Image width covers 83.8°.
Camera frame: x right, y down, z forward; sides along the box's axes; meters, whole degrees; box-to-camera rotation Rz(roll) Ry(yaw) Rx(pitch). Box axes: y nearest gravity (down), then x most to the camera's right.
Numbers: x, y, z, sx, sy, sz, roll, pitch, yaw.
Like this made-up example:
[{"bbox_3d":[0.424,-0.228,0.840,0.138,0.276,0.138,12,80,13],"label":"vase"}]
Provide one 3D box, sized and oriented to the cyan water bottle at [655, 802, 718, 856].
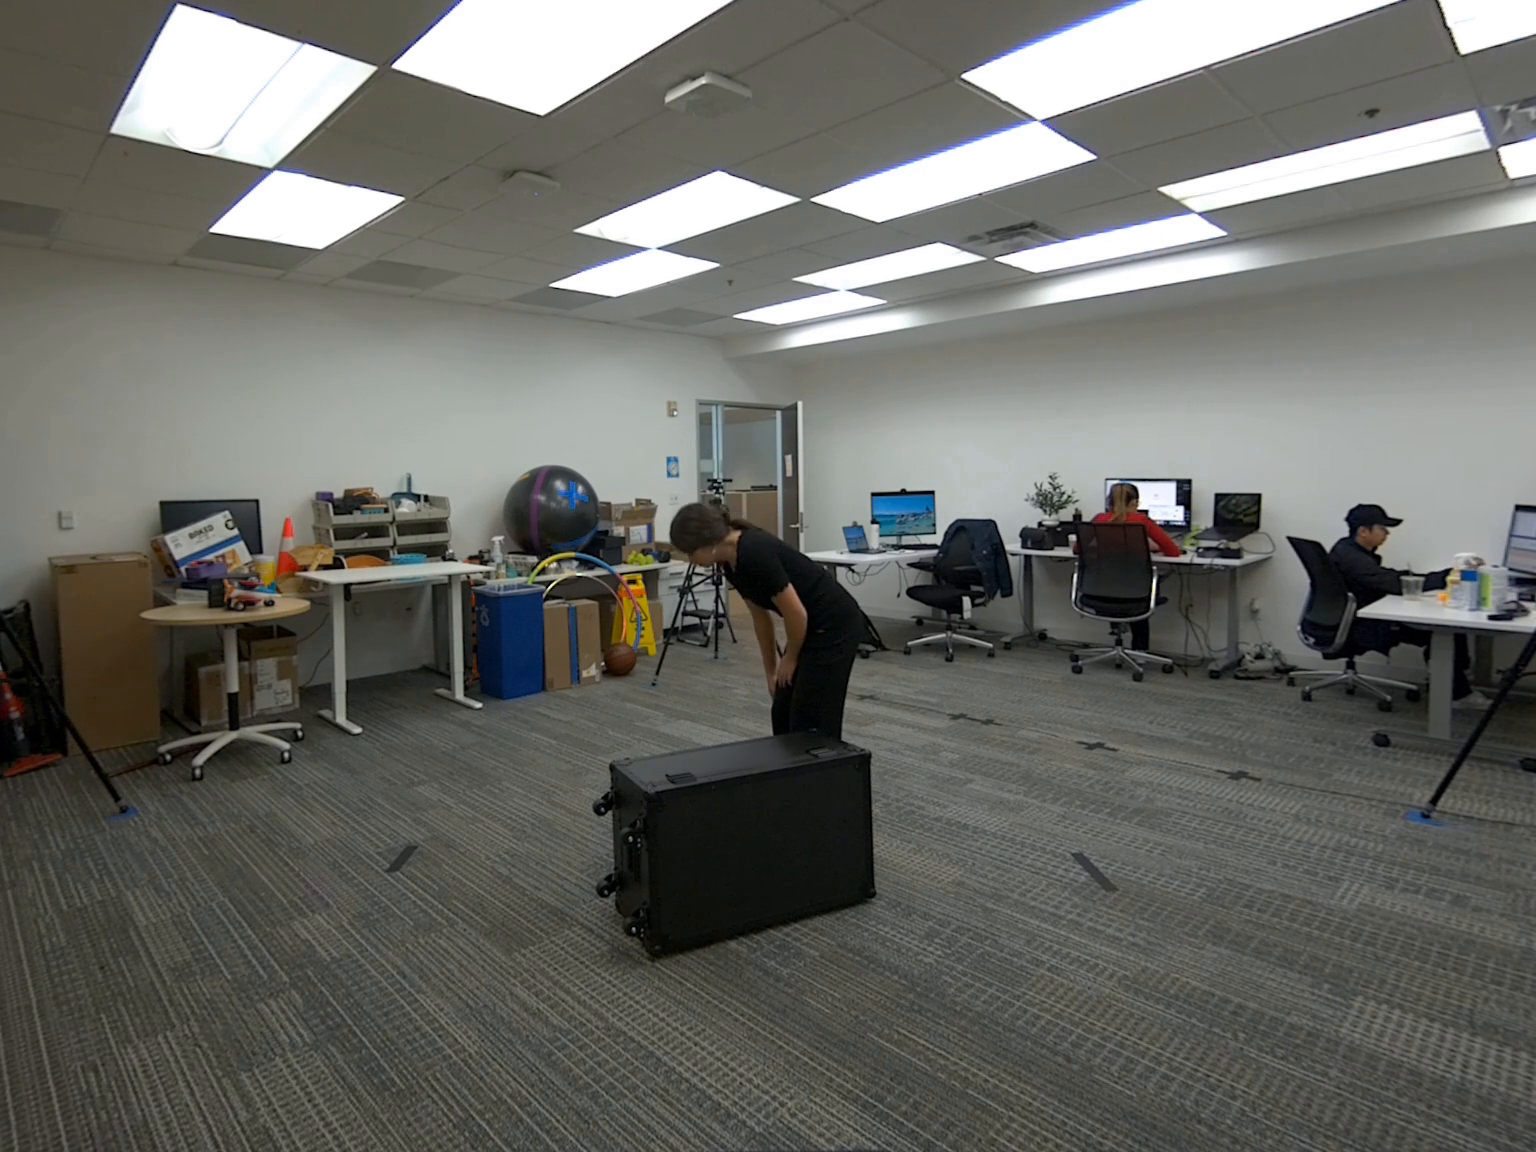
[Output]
[{"bbox_3d":[-0.317,0.979,3.336,0.095,0.092,0.277,2,6,31],"label":"cyan water bottle"}]
